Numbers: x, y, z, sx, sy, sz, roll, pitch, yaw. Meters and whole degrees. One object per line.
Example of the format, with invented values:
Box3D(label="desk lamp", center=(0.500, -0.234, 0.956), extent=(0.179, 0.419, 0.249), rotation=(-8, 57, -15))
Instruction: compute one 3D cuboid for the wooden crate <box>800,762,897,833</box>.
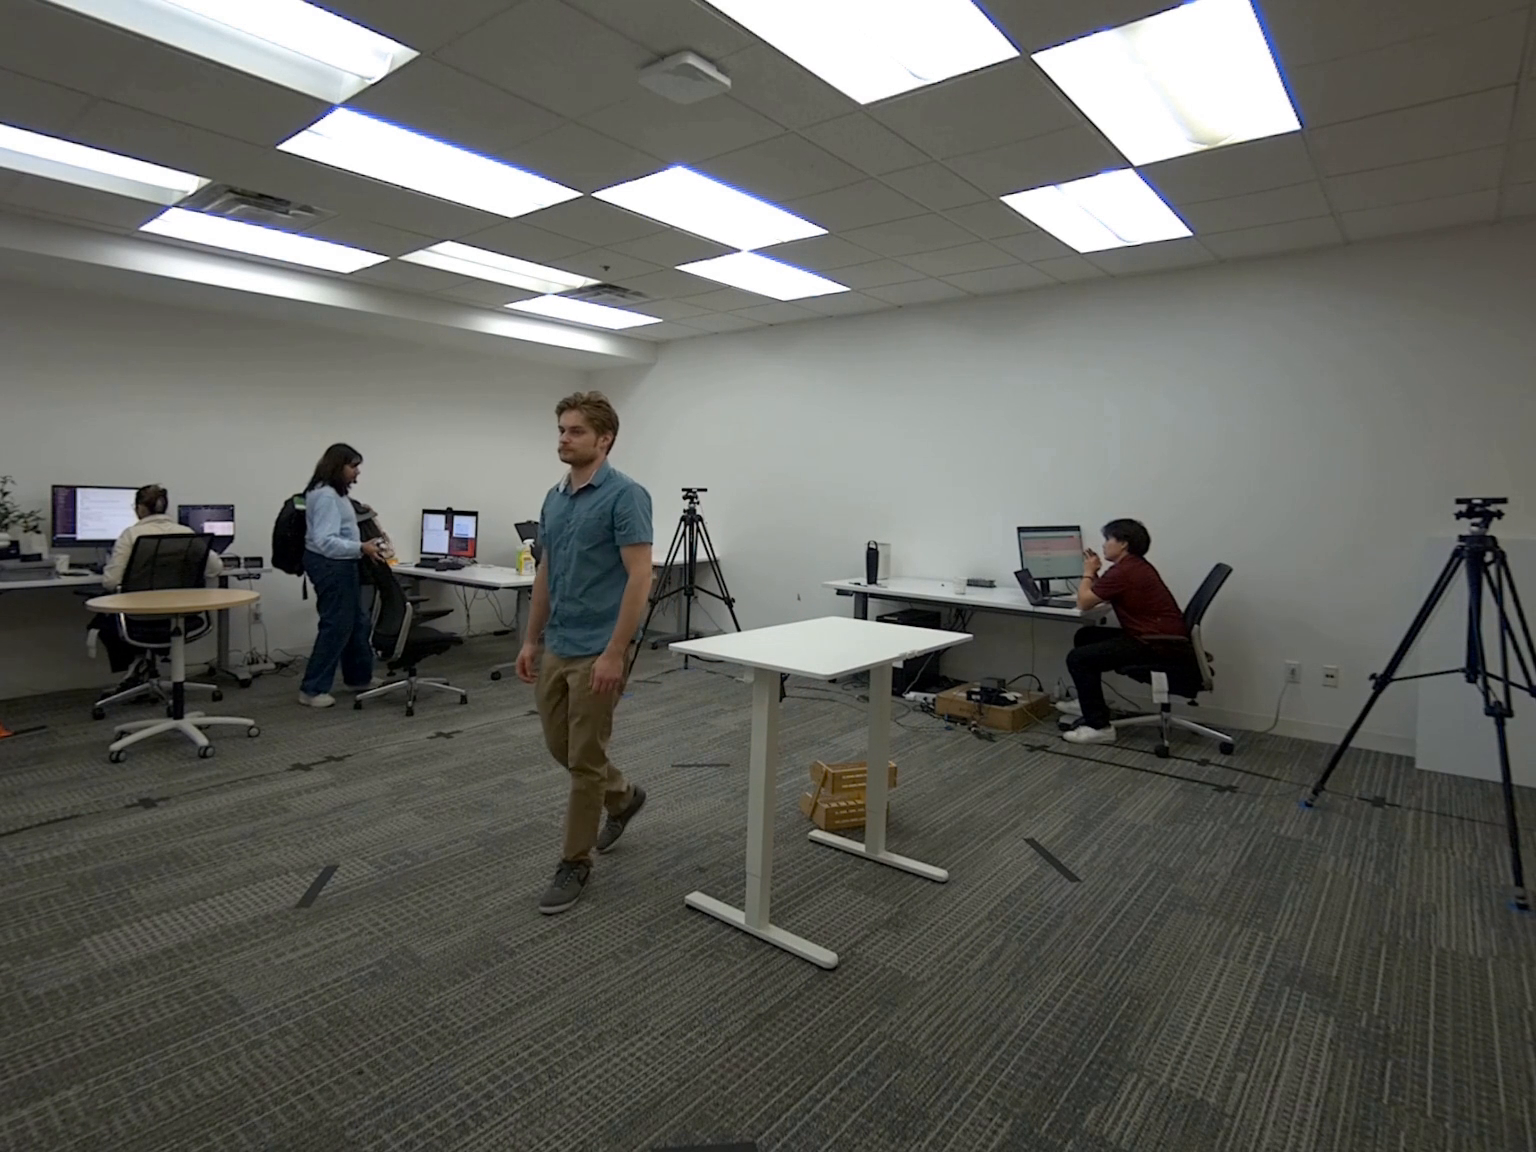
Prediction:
Box3D(label="wooden crate", center=(0.327, 0.895, 3.633), extent=(0.317, 0.272, 0.310), rotation=(-1, 5, -23))
